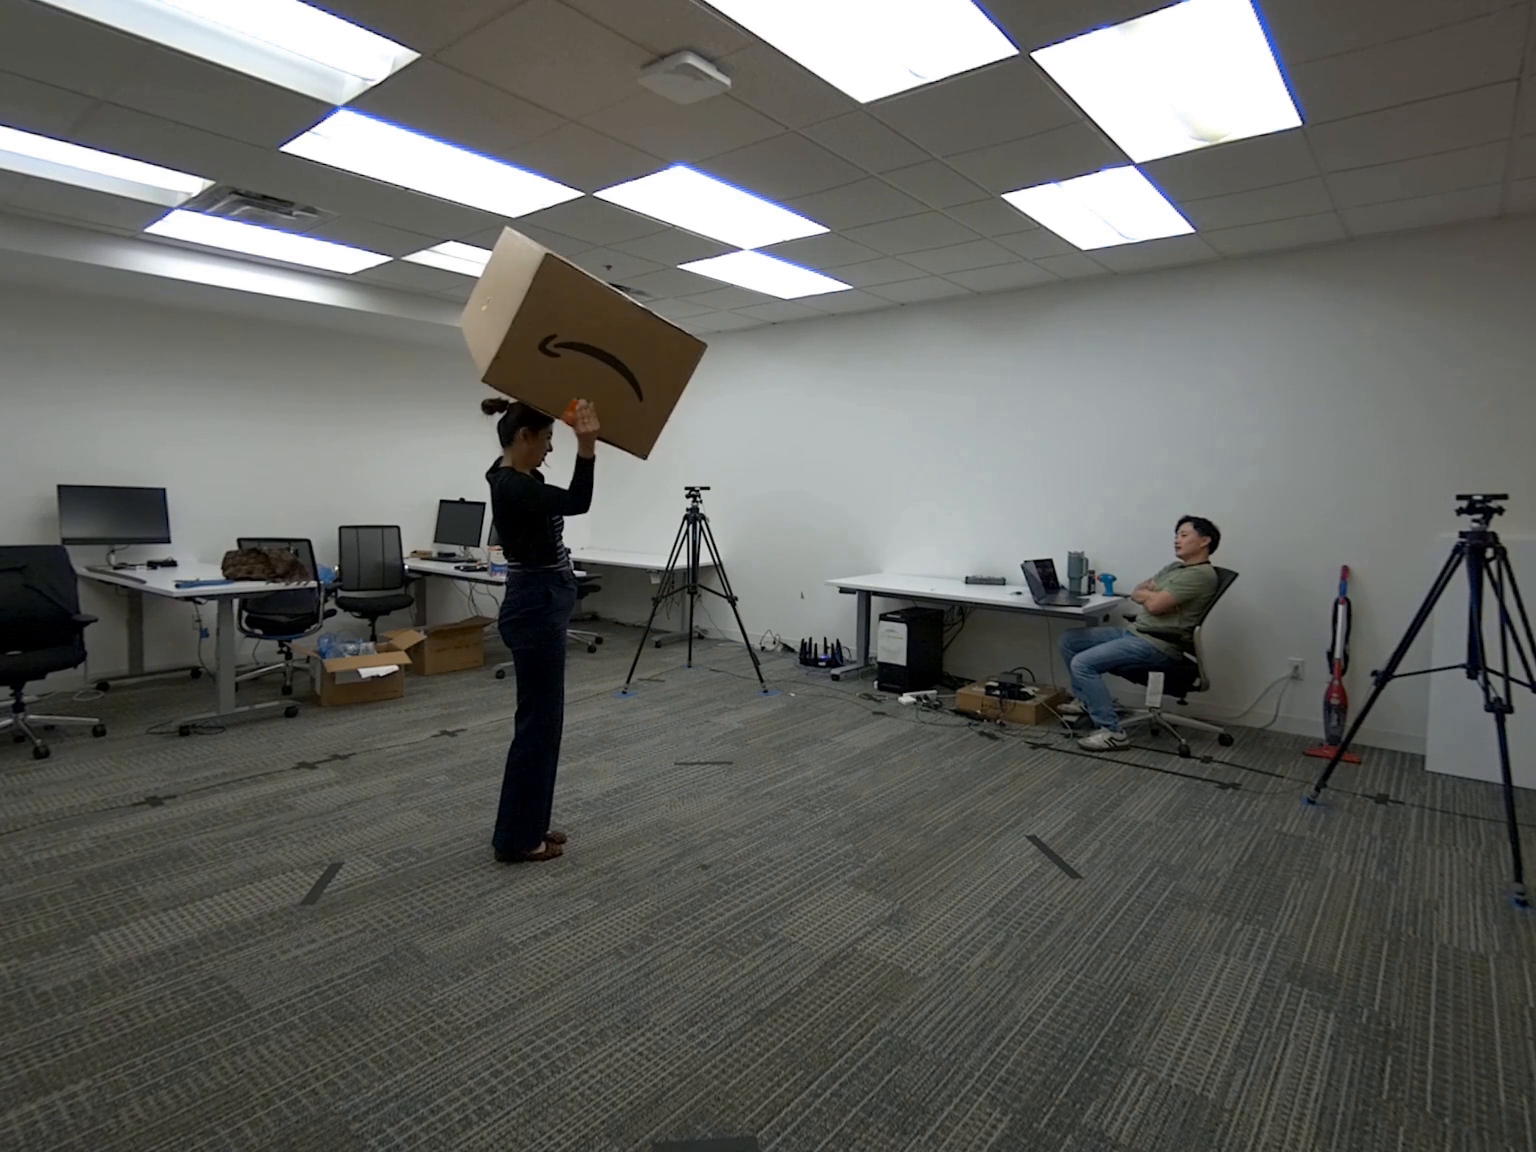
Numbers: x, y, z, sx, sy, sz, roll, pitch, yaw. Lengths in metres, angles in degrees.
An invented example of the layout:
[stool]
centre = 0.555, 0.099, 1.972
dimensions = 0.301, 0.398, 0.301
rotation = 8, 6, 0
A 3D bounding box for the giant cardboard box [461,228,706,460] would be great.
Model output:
[giant cardboard box]
centre = -0.711, -0.846, 3.023
dimensions = 0.558, 0.424, 1.066
rotation = 23, 14, -31
